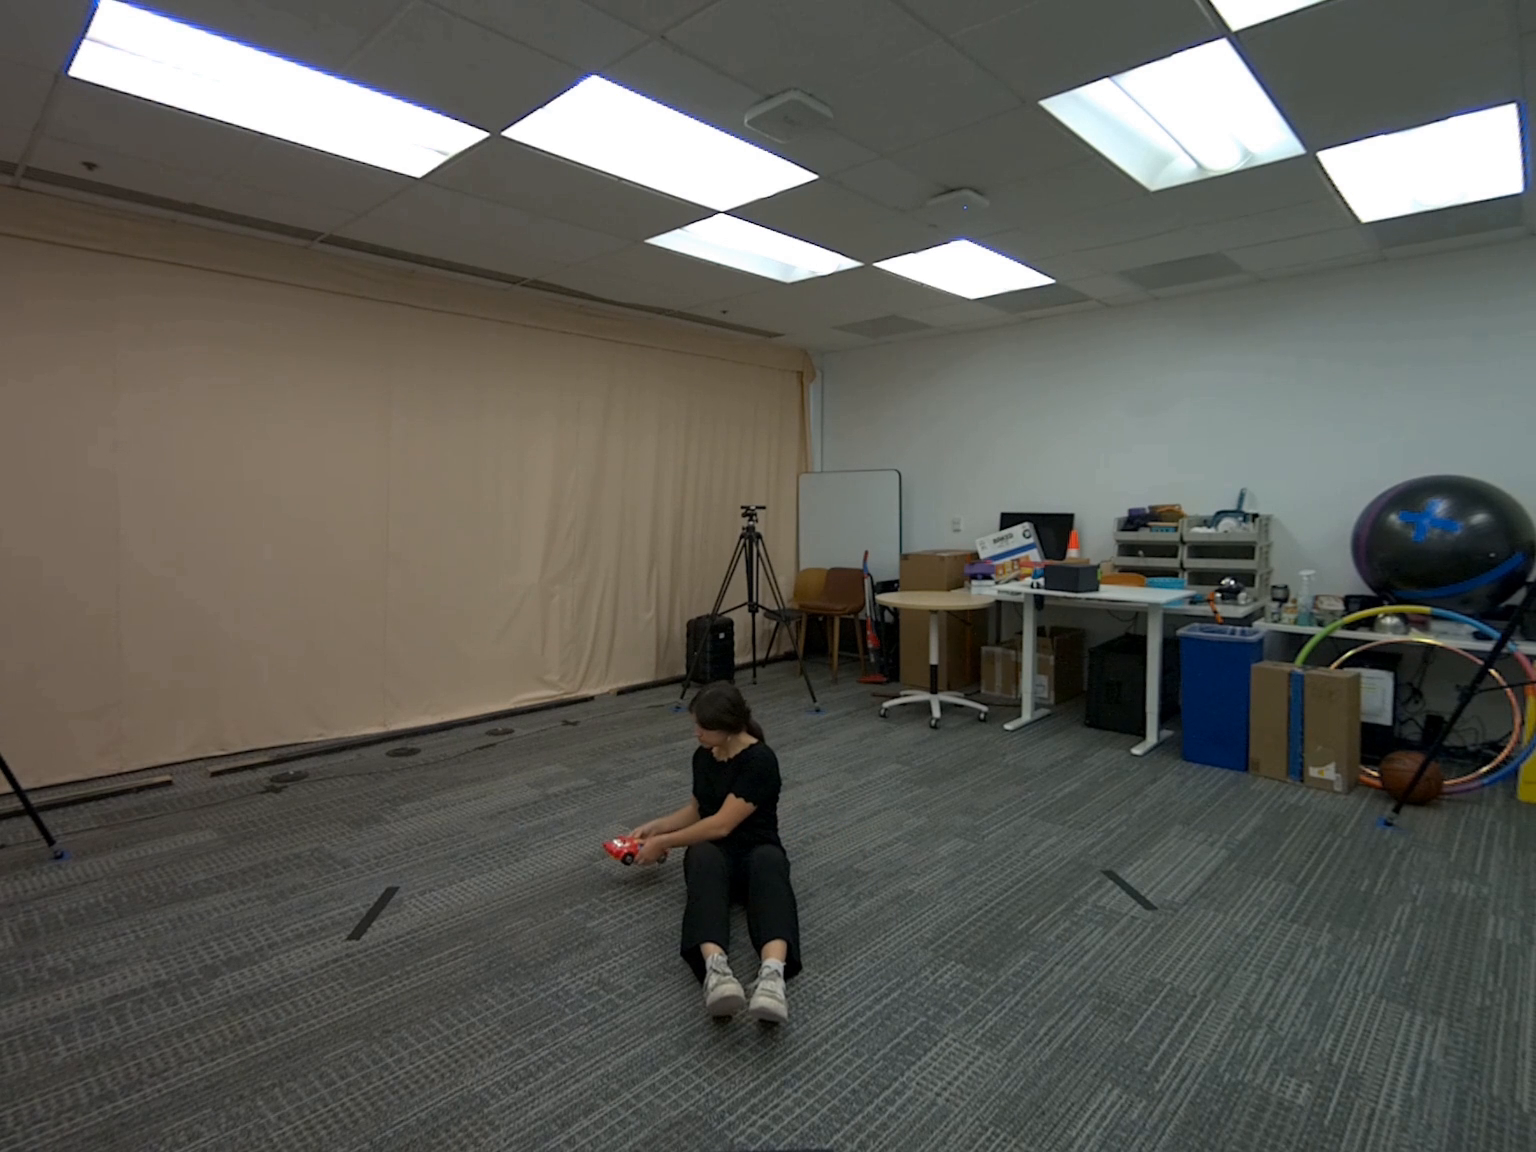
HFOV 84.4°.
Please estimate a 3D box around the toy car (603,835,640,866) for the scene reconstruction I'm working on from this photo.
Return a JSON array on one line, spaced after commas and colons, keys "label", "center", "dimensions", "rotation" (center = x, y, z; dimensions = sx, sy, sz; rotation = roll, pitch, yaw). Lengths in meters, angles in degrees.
[{"label": "toy car", "center": [-0.489, 1.017, 3.107], "dimensions": [0.246, 0.083, 0.134], "rotation": [26, -10, -31]}]
